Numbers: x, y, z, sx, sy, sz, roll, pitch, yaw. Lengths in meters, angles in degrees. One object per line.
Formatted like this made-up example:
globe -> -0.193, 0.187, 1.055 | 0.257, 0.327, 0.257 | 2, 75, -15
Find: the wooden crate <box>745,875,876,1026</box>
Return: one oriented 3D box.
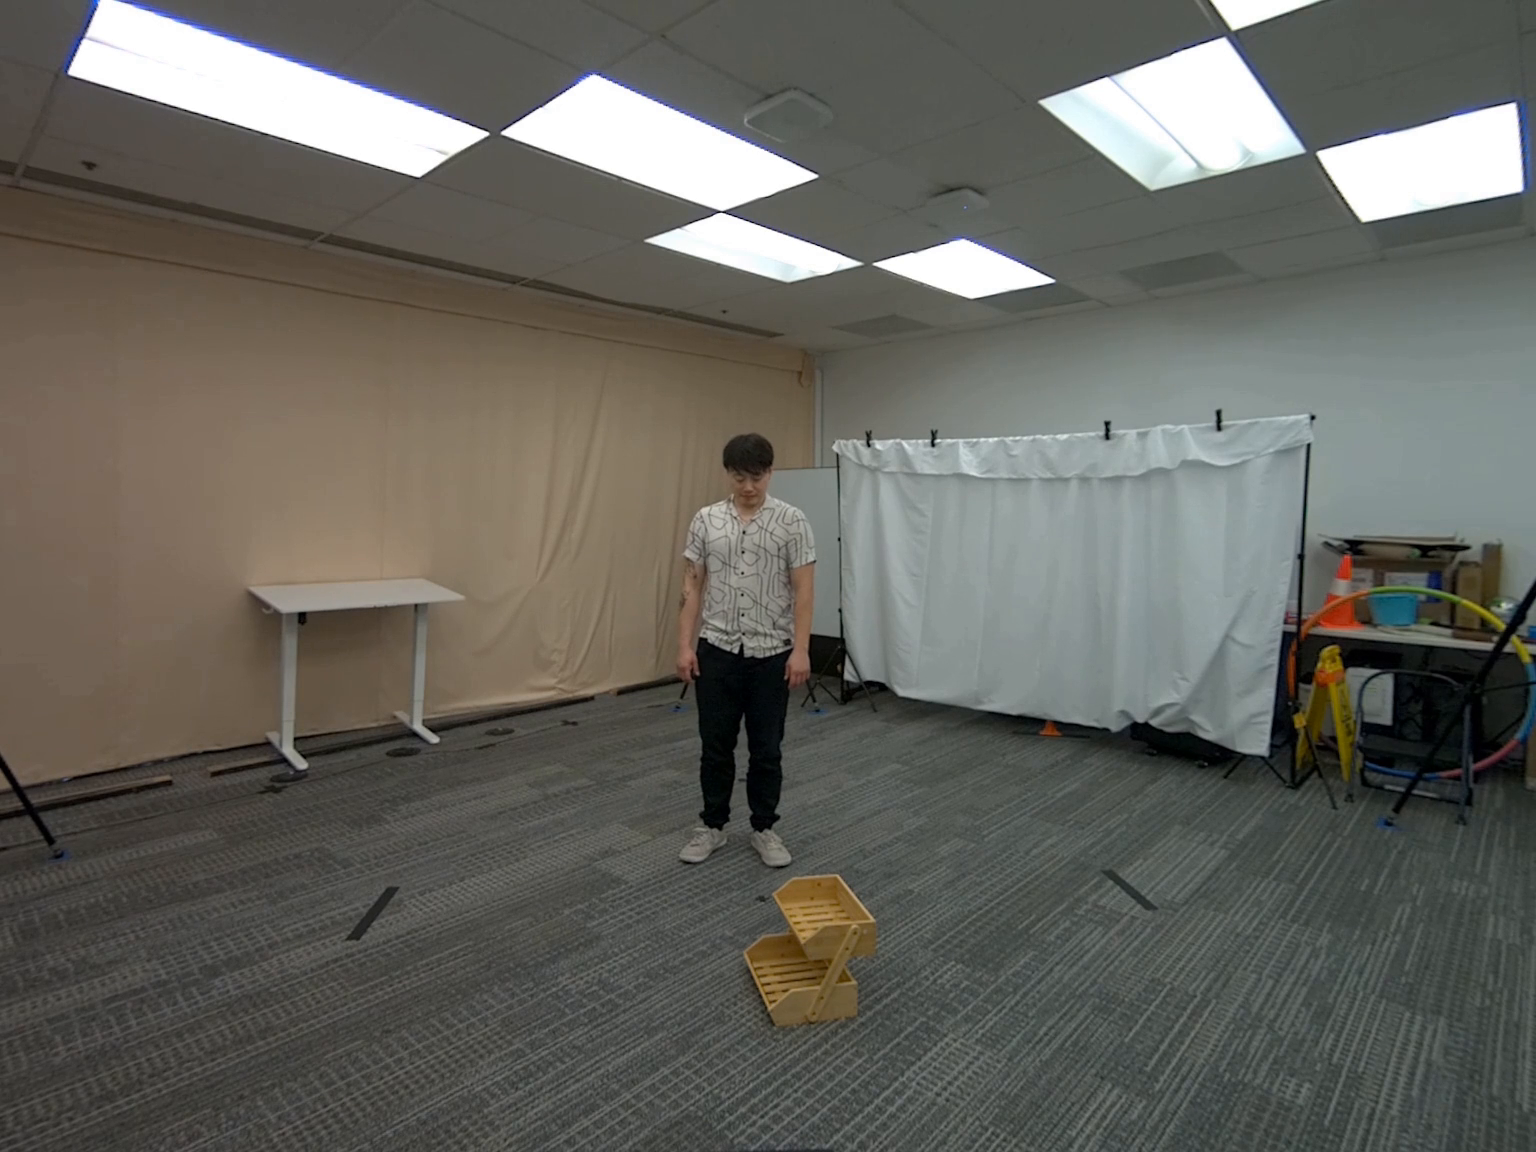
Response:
wooden crate -> 0.108, 1.059, 2.406 | 0.298, 0.273, 0.330 | 0, 4, -14
